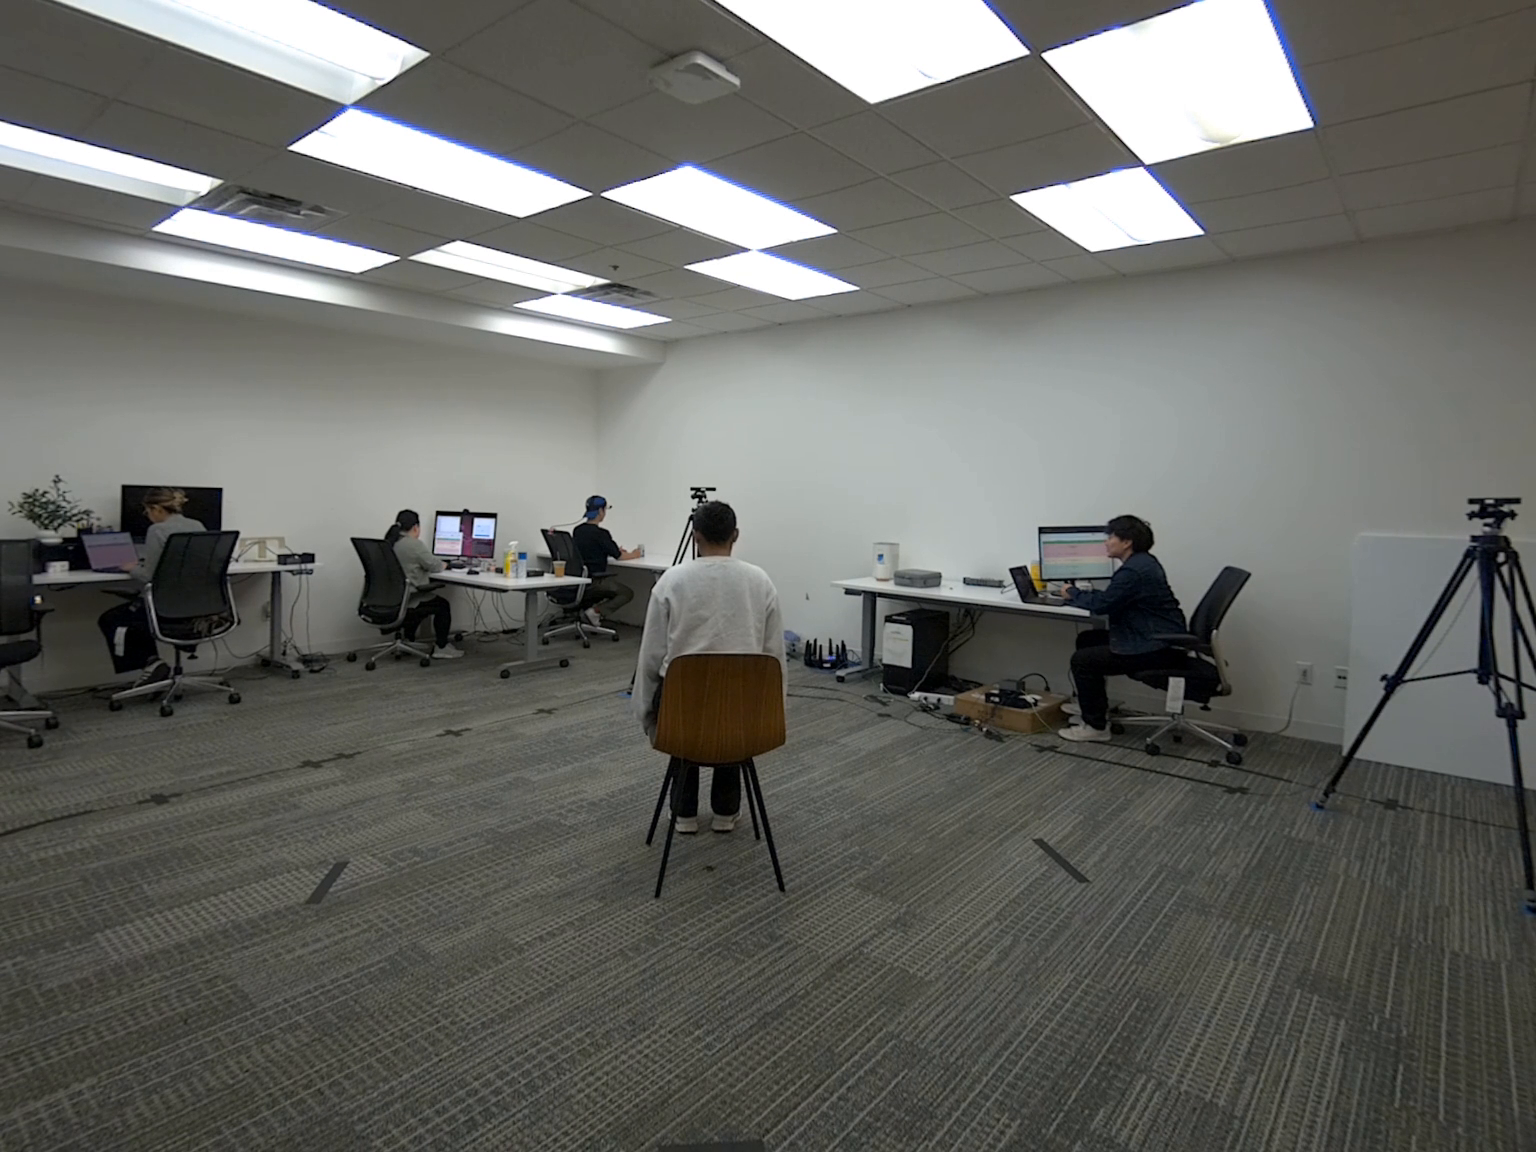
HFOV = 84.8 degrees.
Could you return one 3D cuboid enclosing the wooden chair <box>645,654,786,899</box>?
[{"bbox_3d":[-0.213,0.639,3.107,0.473,0.872,0.532,0,7,-11],"label":"wooden chair"}]
